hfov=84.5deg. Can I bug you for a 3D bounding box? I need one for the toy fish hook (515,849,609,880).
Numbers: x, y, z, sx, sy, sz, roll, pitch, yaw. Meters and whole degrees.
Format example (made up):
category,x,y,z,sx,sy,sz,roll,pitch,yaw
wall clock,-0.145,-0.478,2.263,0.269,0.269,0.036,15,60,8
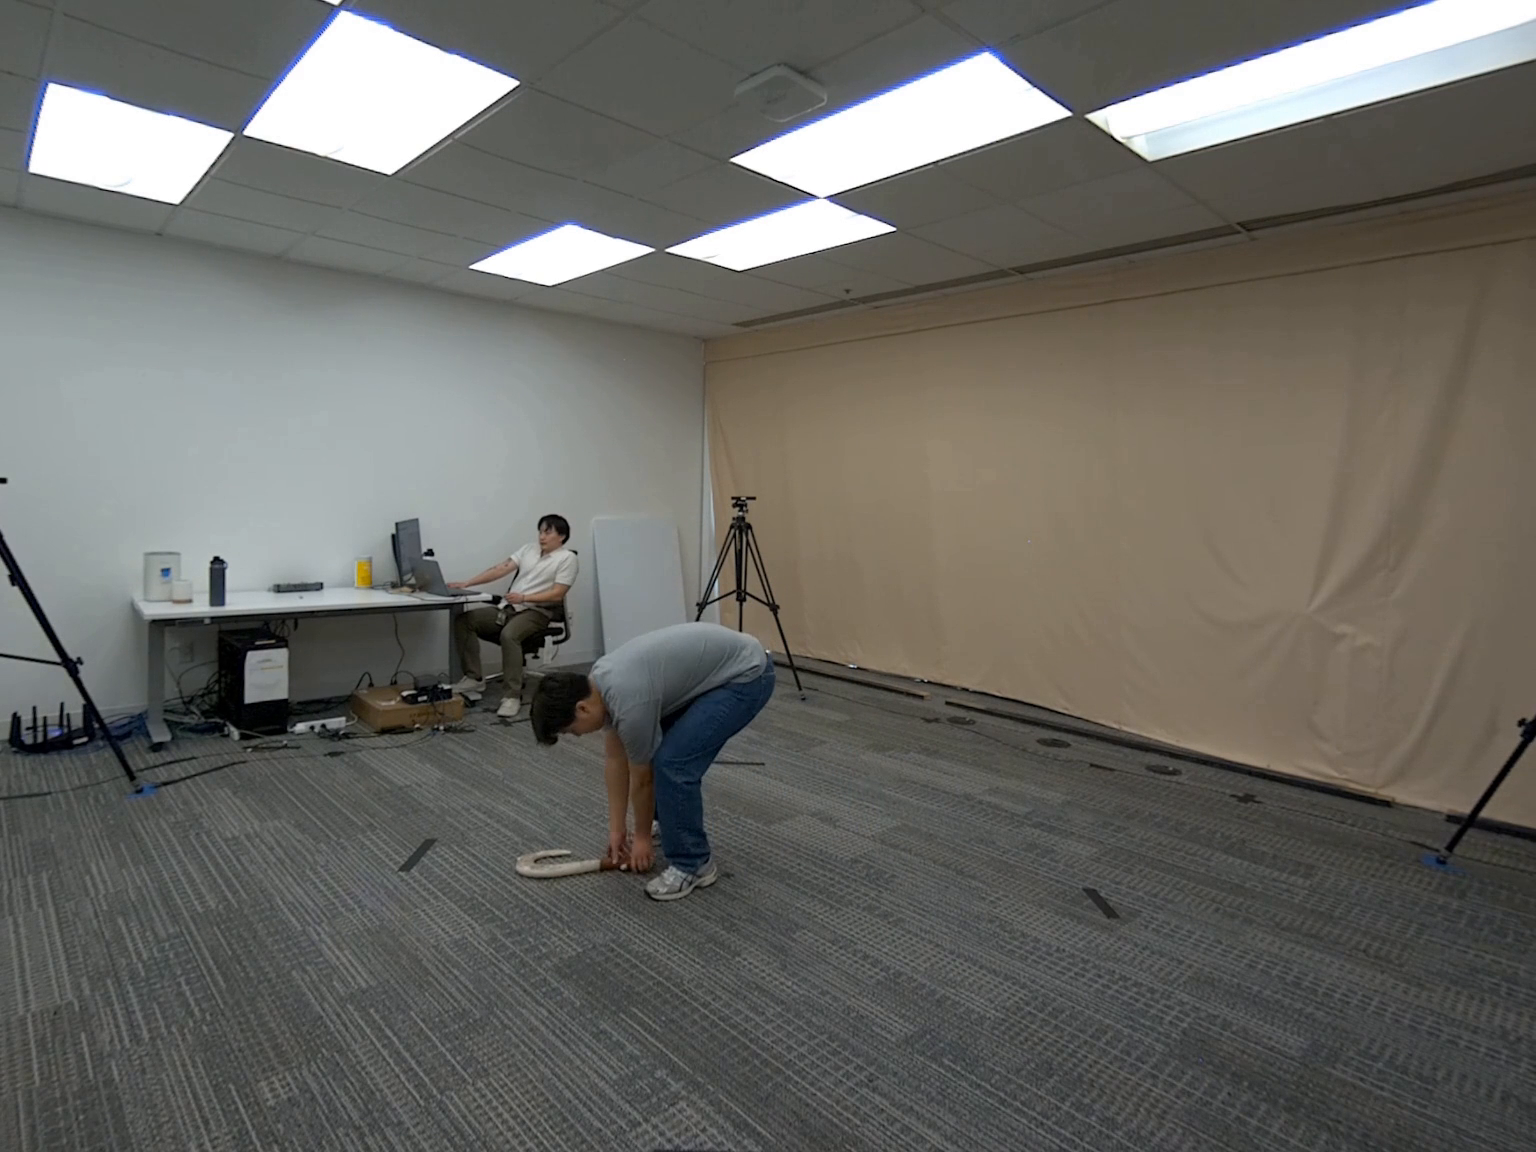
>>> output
category,x,y,z,sx,sy,sz,roll,pitch,yaw
toy fish hook,-0.685,1.056,3.156,0.503,0.048,0.227,1,7,-8
